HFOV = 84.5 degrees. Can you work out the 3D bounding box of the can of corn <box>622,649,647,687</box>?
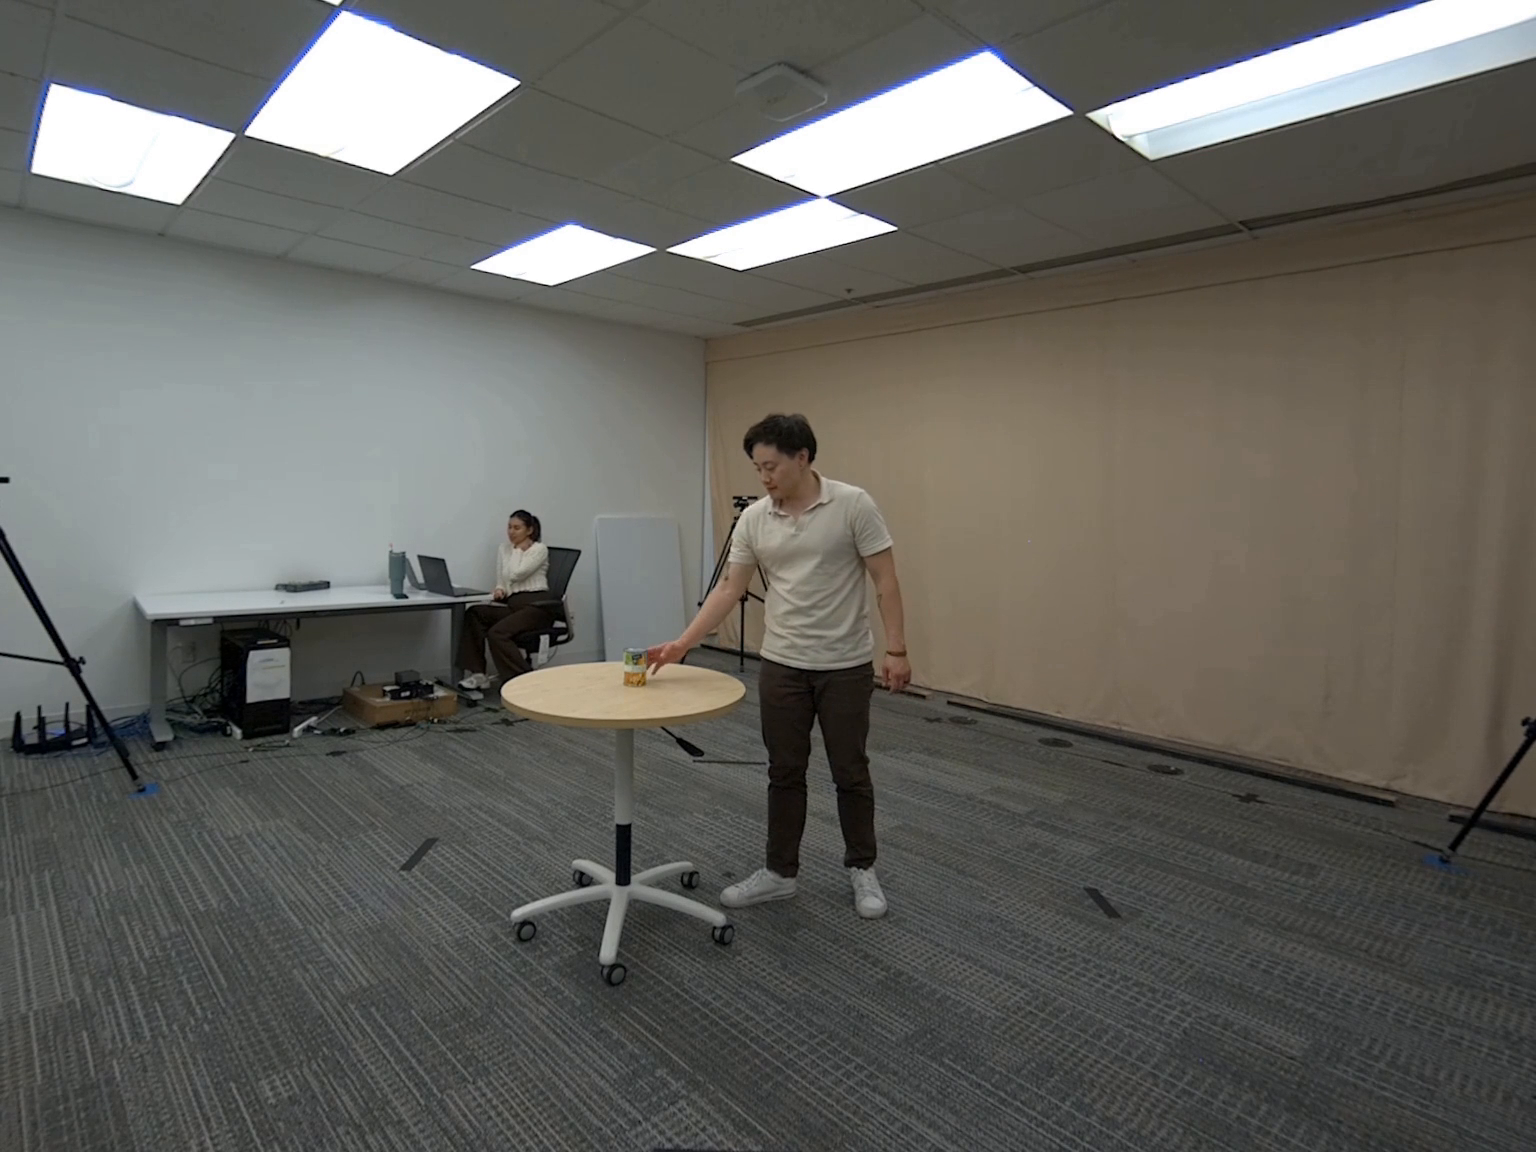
[{"bbox_3d":[-0.433,0.291,2.708,0.074,0.111,0.074,0,3,-1],"label":"can of corn"}]
